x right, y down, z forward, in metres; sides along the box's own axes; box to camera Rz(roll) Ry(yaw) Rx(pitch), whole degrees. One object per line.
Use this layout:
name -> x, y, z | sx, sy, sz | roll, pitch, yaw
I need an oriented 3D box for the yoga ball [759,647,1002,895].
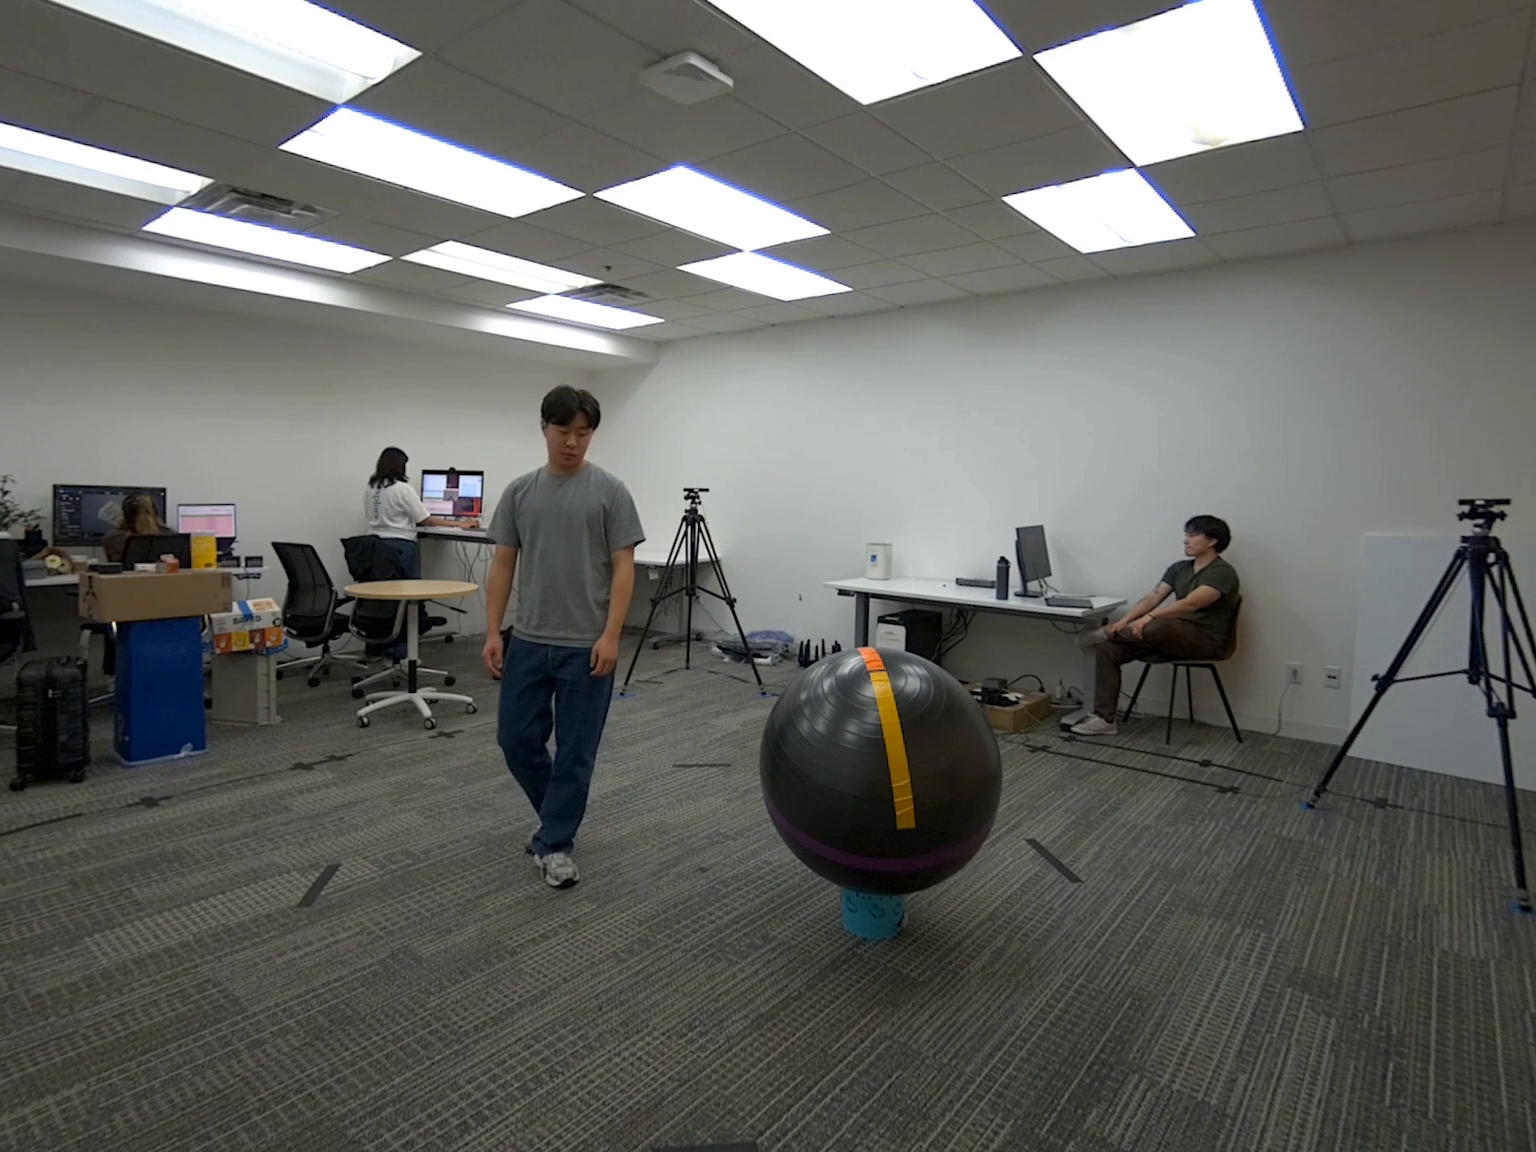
yoga ball -> 0.356, 0.612, 2.710 | 0.757, 0.756, 0.761 | 1, 4, -2
